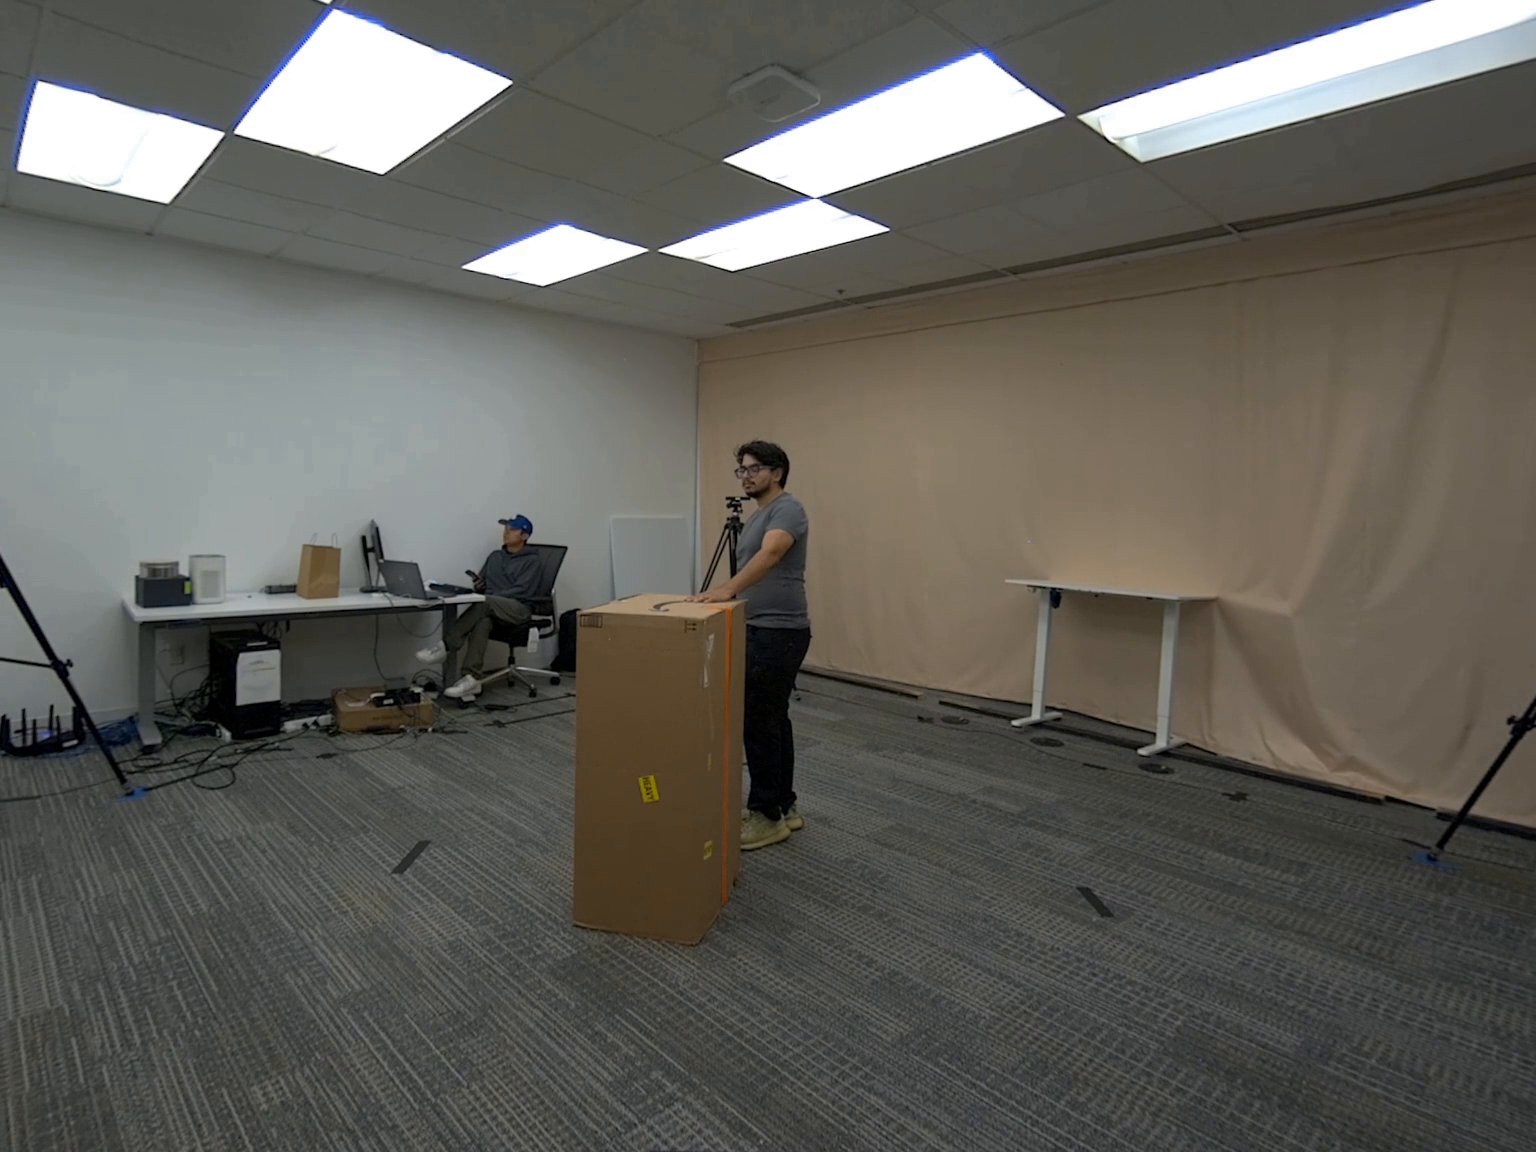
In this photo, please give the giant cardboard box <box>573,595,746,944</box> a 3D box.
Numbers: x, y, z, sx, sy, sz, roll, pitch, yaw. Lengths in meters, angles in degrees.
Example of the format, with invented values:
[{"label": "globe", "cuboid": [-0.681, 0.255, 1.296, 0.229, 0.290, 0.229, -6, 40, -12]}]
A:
[{"label": "giant cardboard box", "cuboid": [-0.360, 0.609, 2.913, 0.431, 1.024, 0.572, 2, 3, 13]}]
